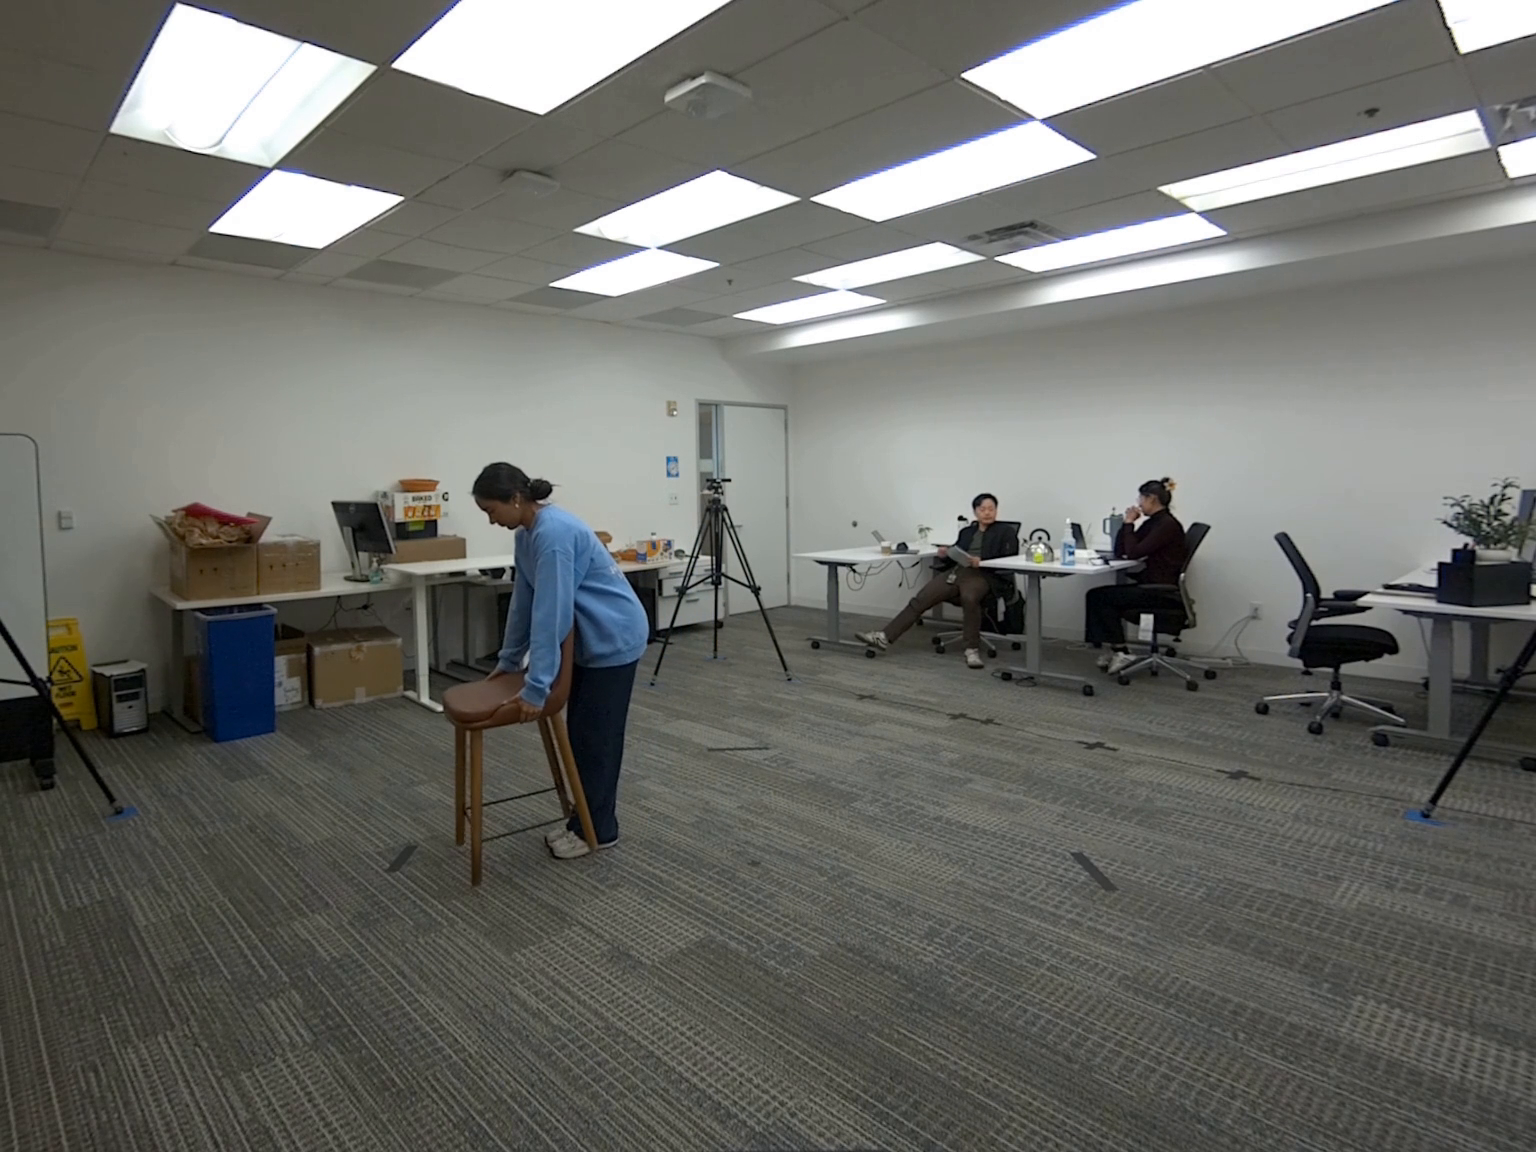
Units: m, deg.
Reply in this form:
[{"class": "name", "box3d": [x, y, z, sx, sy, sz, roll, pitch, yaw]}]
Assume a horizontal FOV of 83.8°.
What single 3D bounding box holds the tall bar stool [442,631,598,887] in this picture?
[{"class": "tall bar stool", "box3d": [-0.939, 0.581, 3.147, 0.458, 0.886, 0.468, -6, 6, -28]}]
